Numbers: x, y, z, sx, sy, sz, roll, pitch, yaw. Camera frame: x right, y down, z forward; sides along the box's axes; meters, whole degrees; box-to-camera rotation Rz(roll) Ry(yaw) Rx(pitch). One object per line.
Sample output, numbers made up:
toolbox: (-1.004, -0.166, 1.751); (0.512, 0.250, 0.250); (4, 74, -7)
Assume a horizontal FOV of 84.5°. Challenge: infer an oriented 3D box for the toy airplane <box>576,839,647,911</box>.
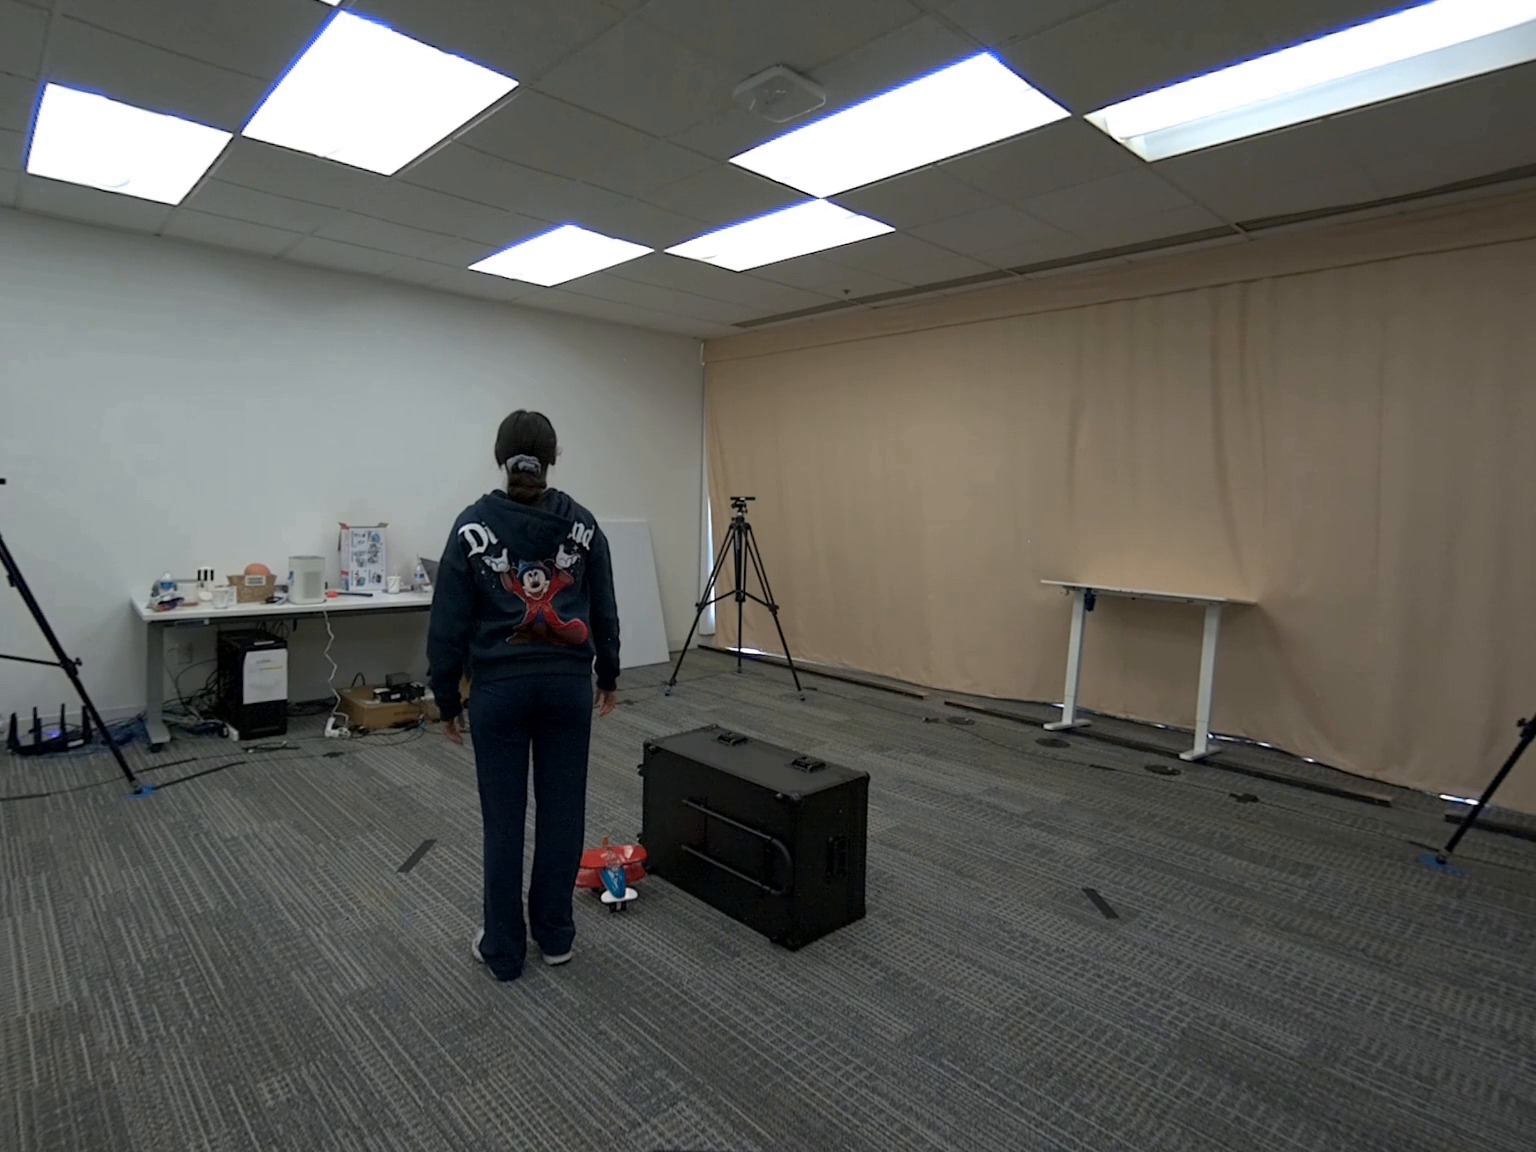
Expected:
toy airplane: (-0.528, 1.041, 2.935); (0.265, 0.156, 0.245); (2, 5, 40)
